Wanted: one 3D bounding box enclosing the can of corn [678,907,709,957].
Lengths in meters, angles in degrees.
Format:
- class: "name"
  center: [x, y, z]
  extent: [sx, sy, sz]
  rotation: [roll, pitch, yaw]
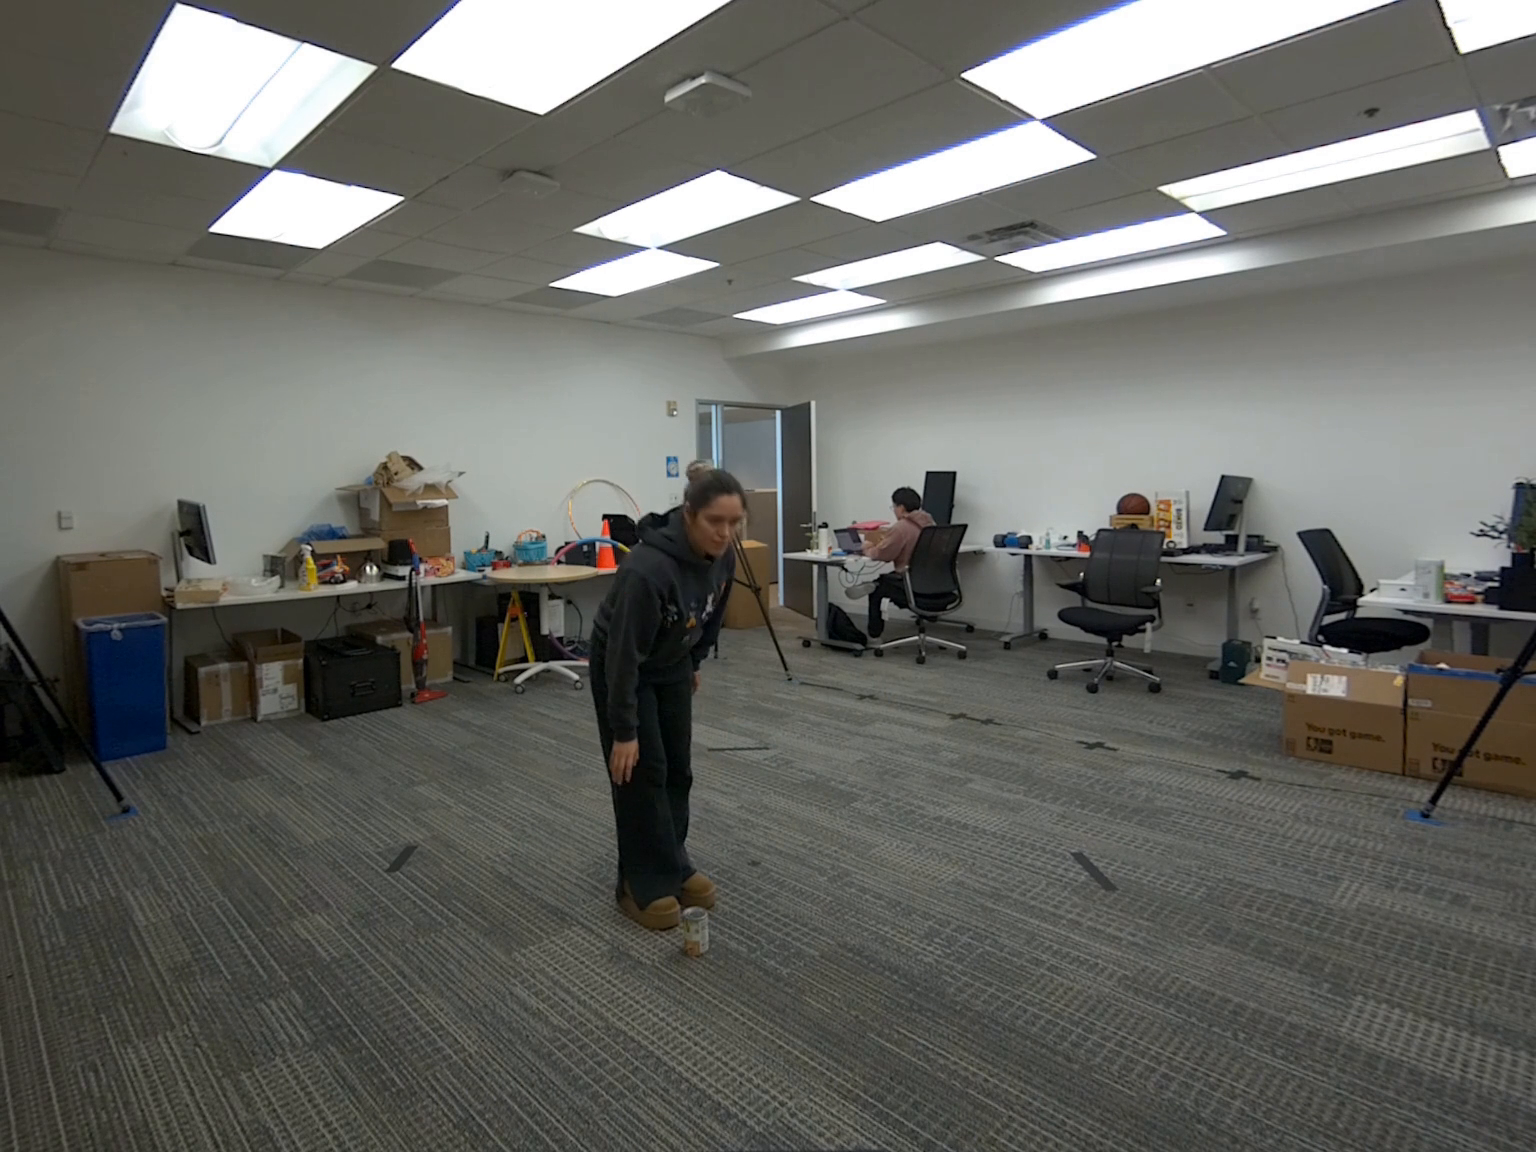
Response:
- class: "can of corn"
  center: [-0.212, 1.061, 2.517]
  extent: [0.074, 0.111, 0.074]
  rotation: [-2, 3, -2]
